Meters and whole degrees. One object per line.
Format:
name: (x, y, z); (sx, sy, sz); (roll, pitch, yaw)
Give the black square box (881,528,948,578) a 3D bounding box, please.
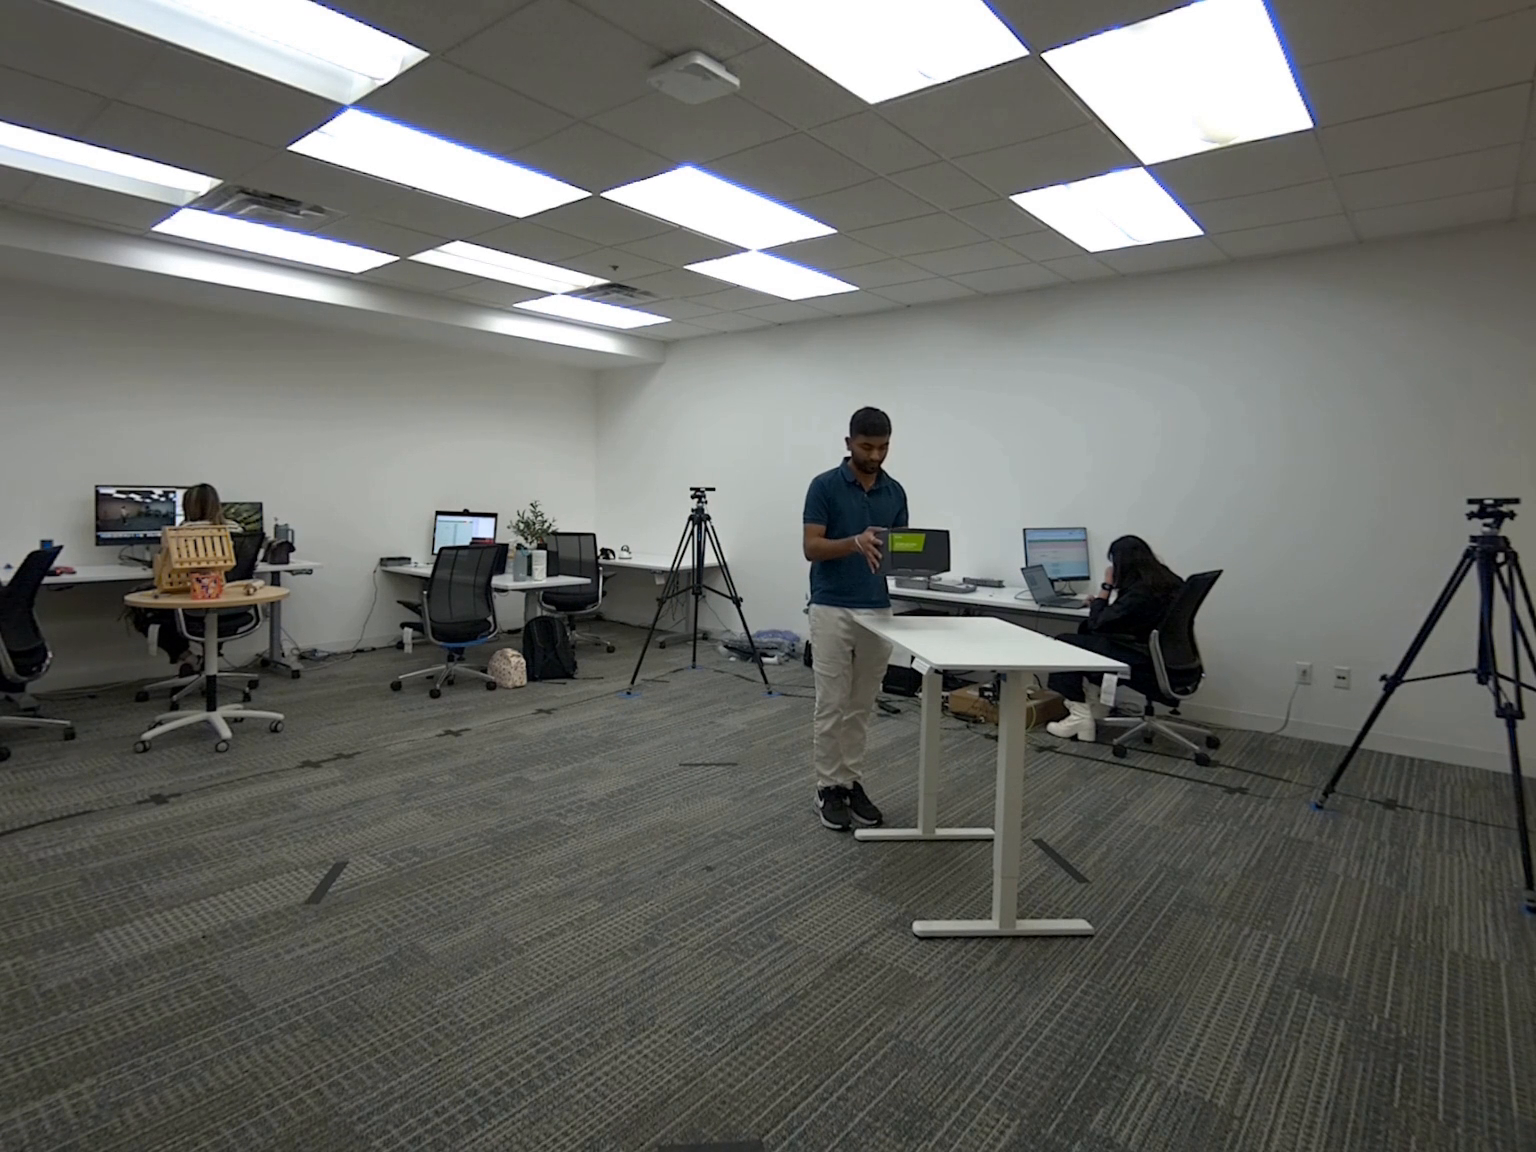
black square box: (0.530, -0.087, 3.196); (0.227, 0.157, 0.216); (1, -8, -4)
